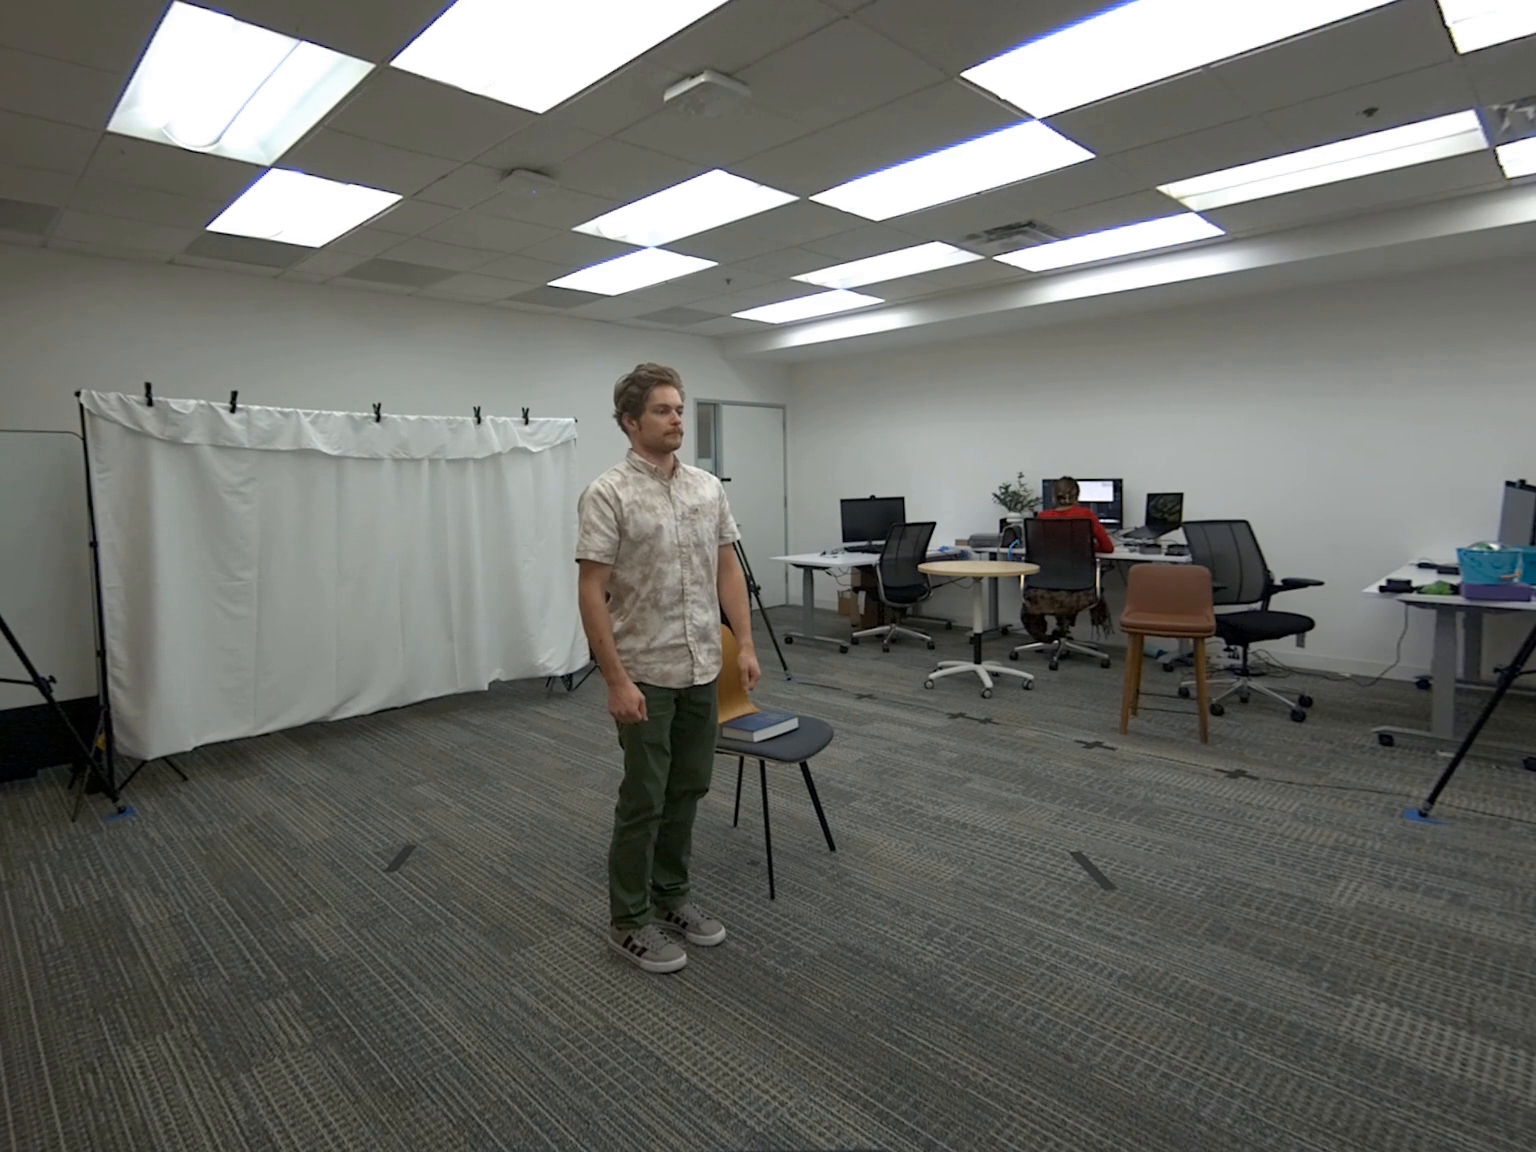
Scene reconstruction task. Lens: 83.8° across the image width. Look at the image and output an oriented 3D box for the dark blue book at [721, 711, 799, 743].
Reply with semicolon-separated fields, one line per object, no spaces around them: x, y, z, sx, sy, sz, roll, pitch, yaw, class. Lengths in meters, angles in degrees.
-0.028;0.537;3.081;0.168;0.045;0.239;1;7;43;dark blue book
